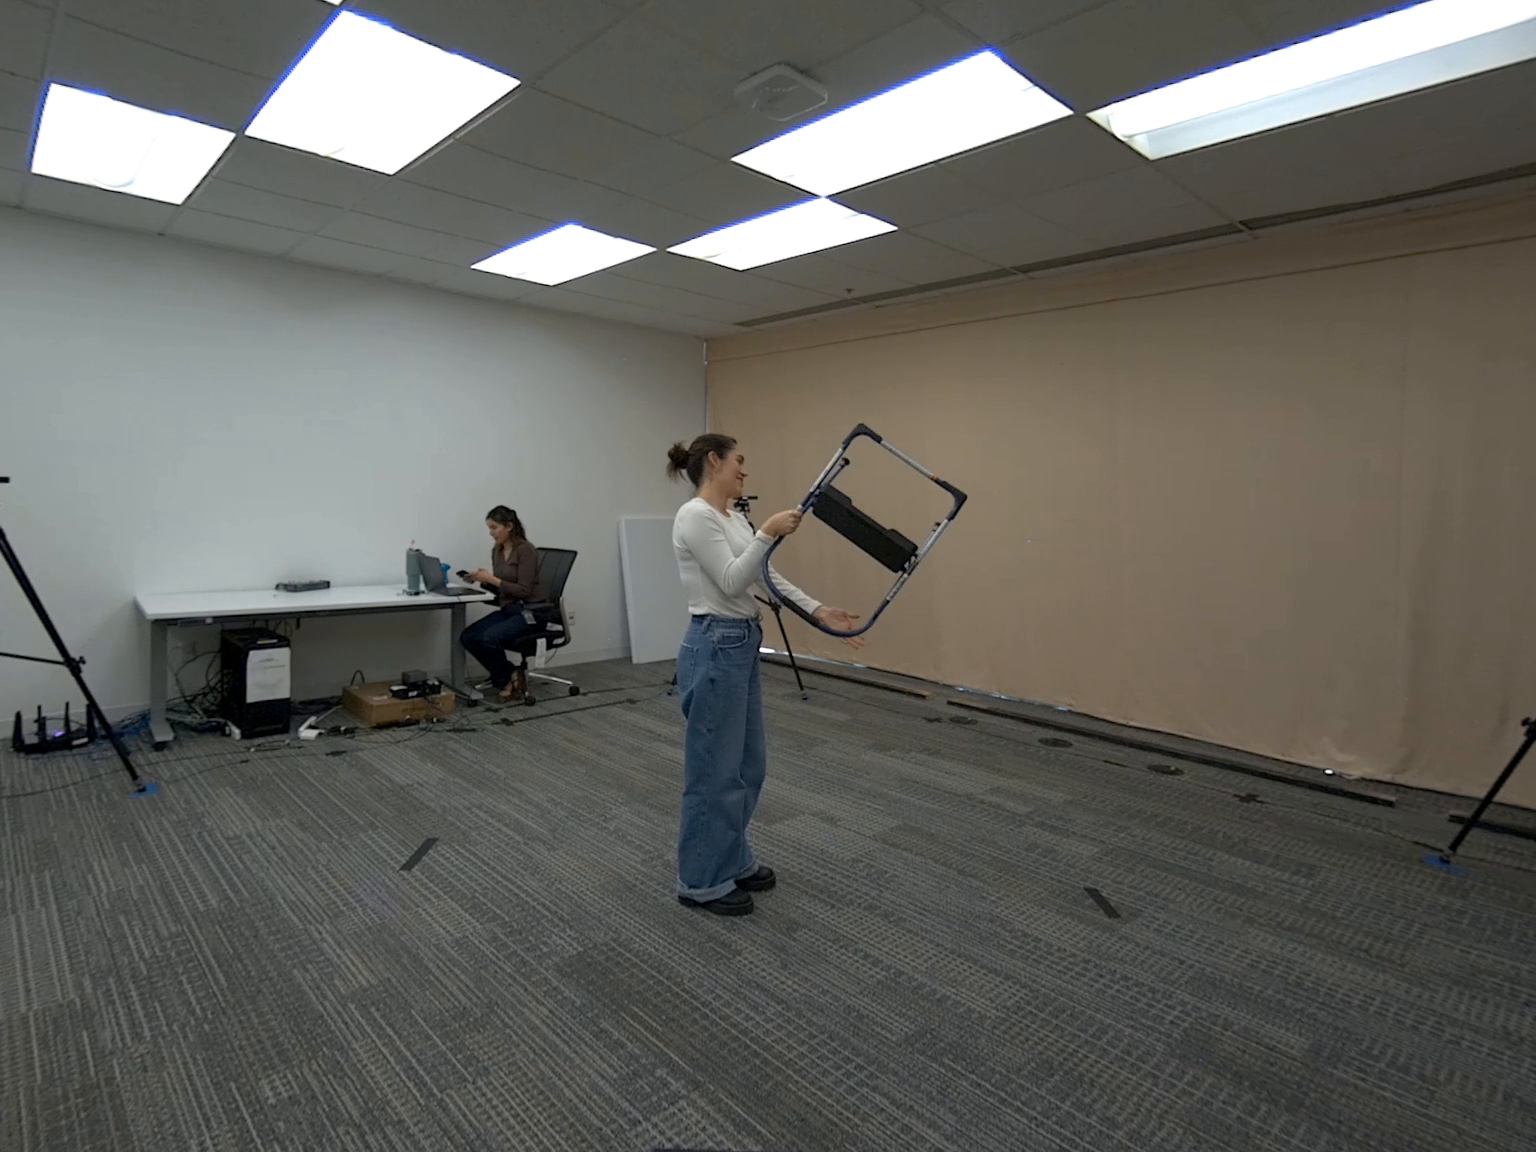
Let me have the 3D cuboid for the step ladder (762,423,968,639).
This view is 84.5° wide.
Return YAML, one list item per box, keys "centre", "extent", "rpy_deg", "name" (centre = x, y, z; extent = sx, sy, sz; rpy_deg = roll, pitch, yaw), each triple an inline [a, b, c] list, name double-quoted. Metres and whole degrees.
- centre: [0.260, -0.105, 2.722]
  extent: [0.435, 0.607, 0.345]
  rpy_deg: [36, -14, 8]
  name: "step ladder"
